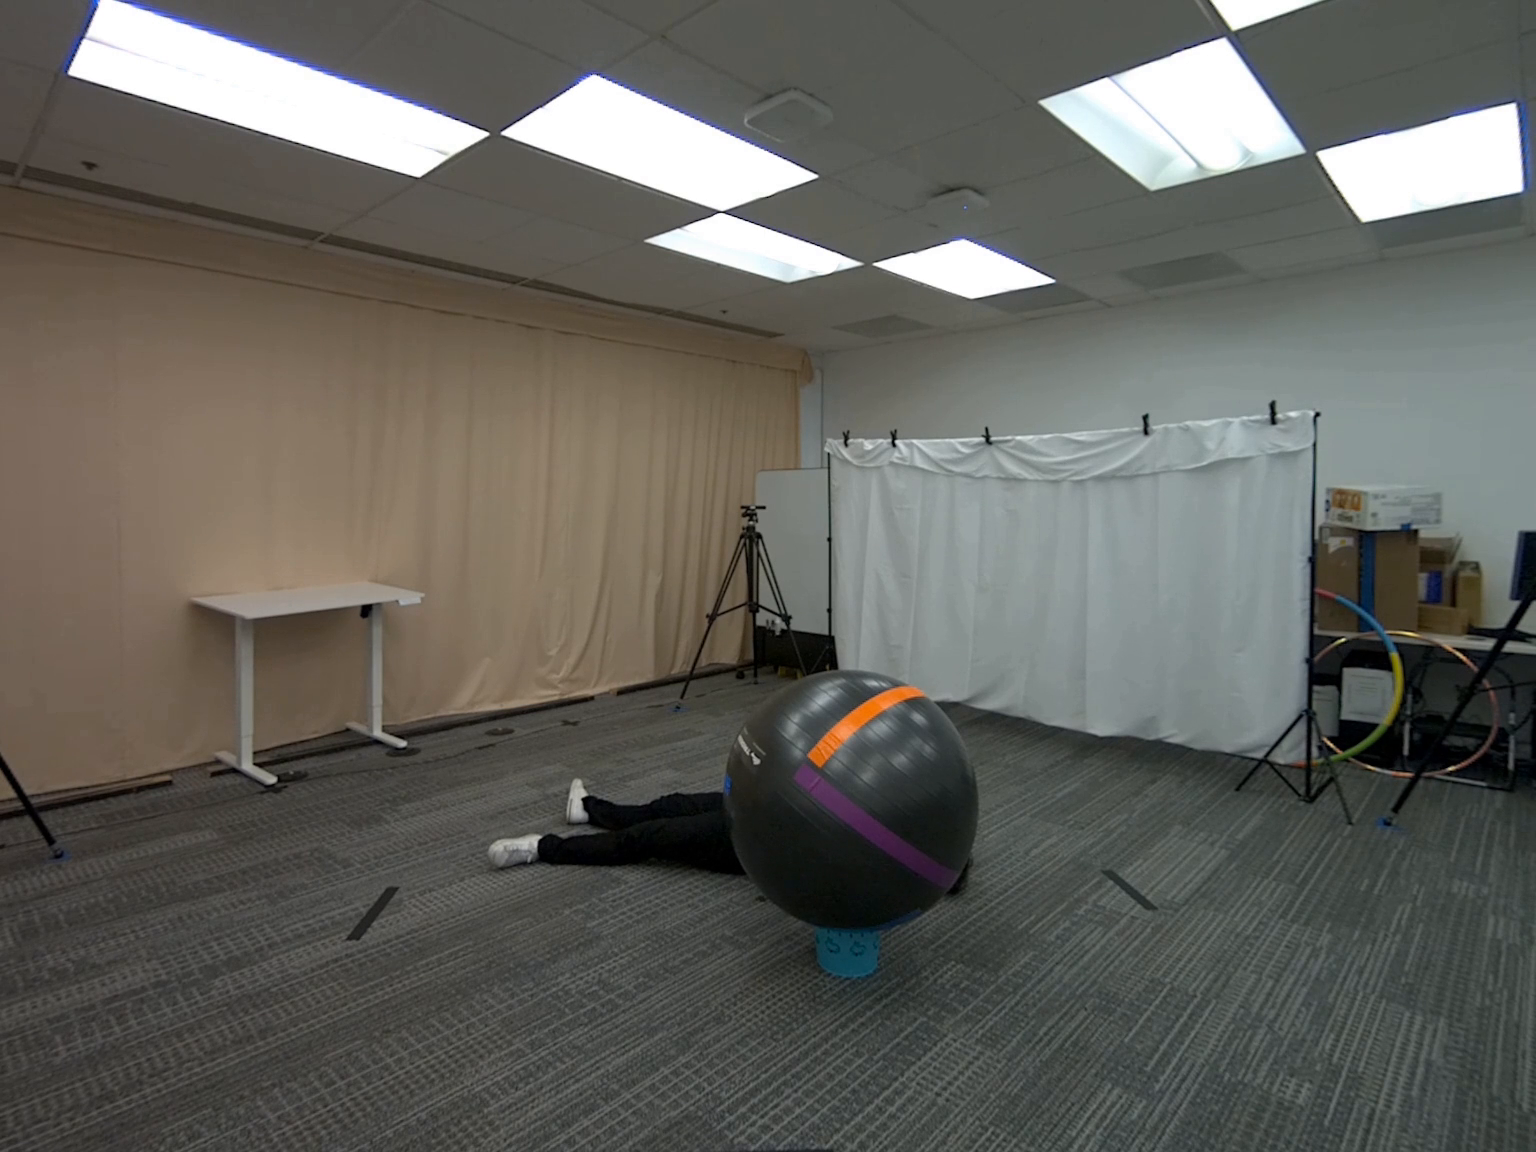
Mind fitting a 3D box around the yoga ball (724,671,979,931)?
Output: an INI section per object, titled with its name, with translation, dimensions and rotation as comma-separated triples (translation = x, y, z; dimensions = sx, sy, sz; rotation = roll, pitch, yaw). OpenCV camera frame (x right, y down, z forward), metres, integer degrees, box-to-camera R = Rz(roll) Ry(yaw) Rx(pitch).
[yoga ball]
translation = 0.243, 0.672, 2.546
dimensions = 0.757, 0.756, 0.760
rotation = 0, 4, -2
